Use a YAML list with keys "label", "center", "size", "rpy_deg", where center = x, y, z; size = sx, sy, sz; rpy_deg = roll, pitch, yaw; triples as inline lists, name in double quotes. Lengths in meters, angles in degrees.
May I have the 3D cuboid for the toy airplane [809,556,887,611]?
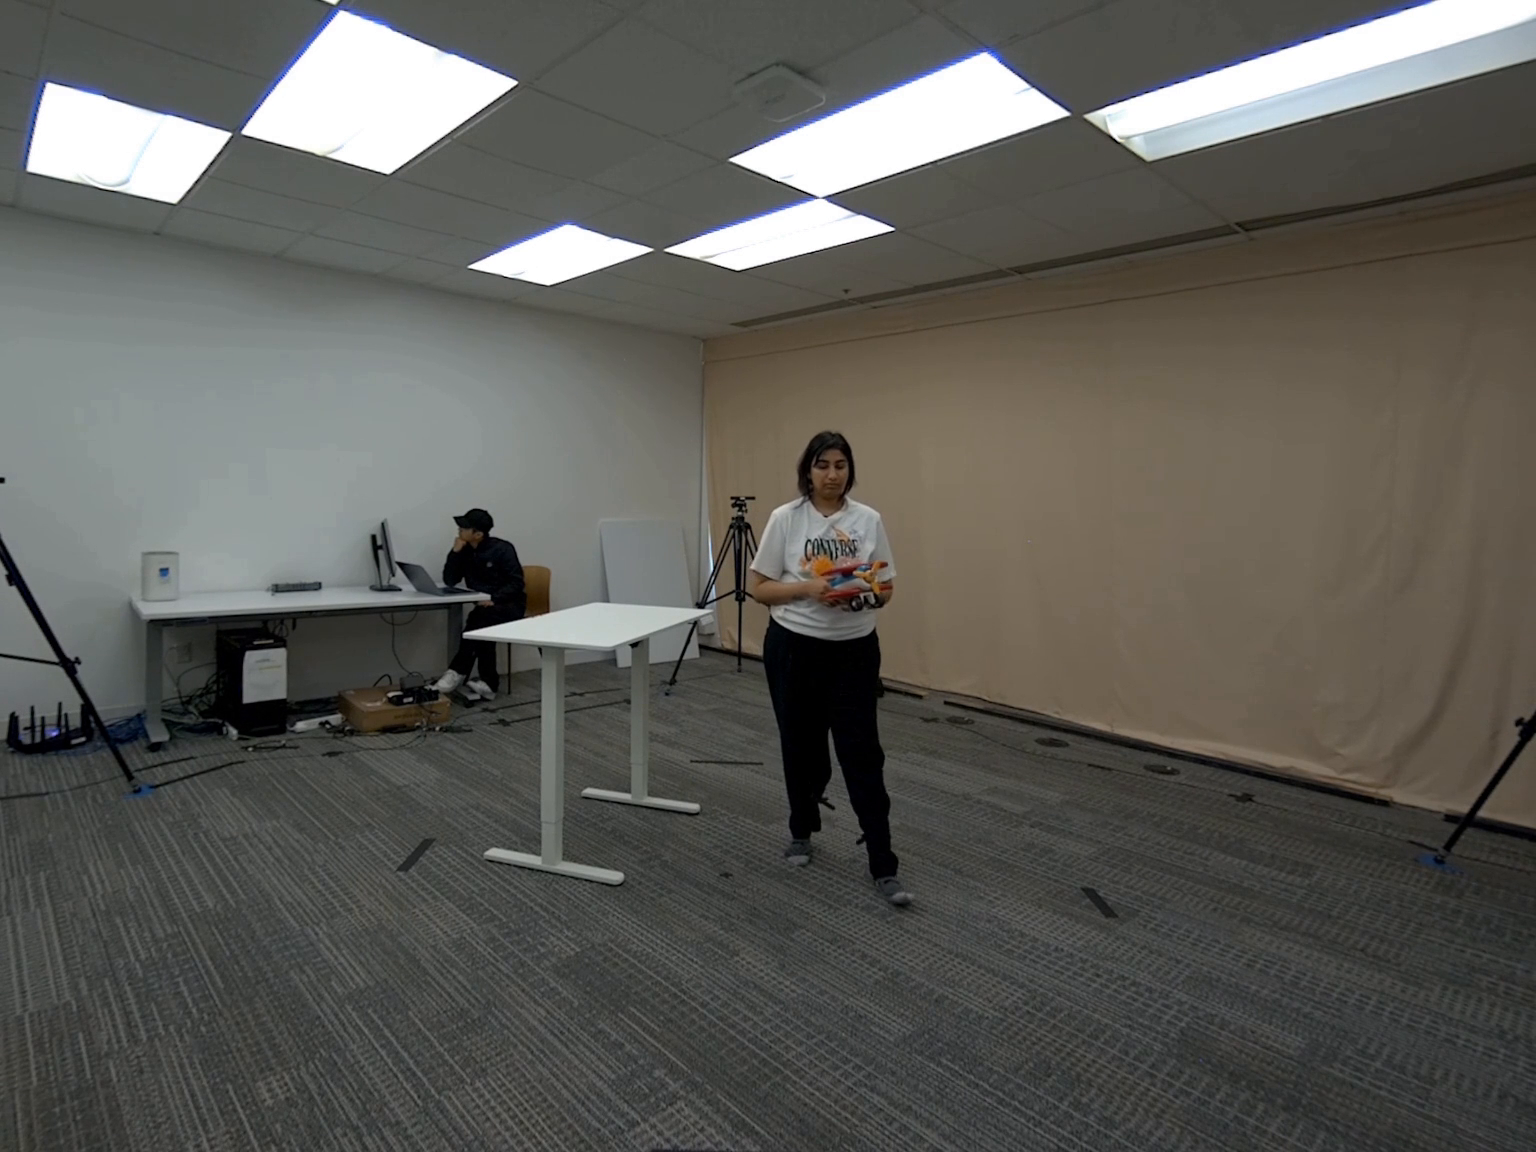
- label: "toy airplane"
  center: [0.267, 0.035, 2.874]
  size: [0.265, 0.156, 0.246]
  rpy_deg: [-2, 6, 34]
